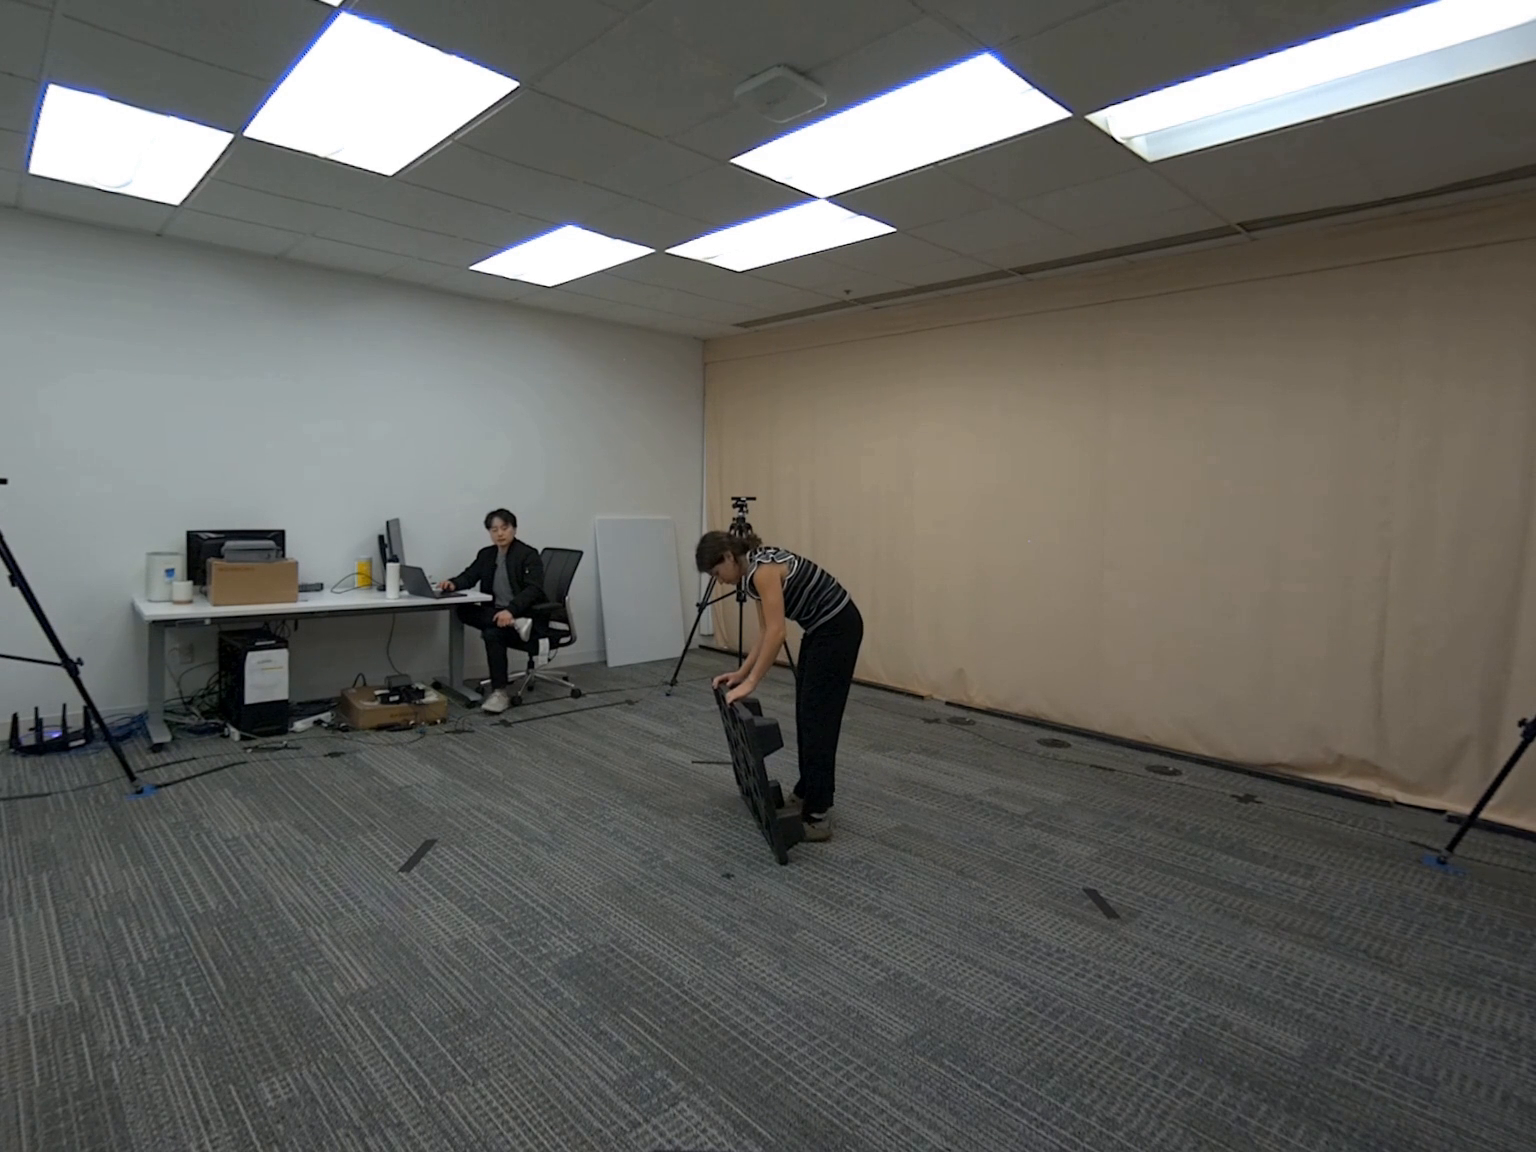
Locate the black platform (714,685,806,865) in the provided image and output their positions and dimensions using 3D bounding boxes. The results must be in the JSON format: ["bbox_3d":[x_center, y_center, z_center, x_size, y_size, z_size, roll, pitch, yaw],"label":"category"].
[{"bbox_3d":[-0.064,0.759,3.563,0.142,0.601,0.816,-14,8,-11],"label":"black platform"}]
